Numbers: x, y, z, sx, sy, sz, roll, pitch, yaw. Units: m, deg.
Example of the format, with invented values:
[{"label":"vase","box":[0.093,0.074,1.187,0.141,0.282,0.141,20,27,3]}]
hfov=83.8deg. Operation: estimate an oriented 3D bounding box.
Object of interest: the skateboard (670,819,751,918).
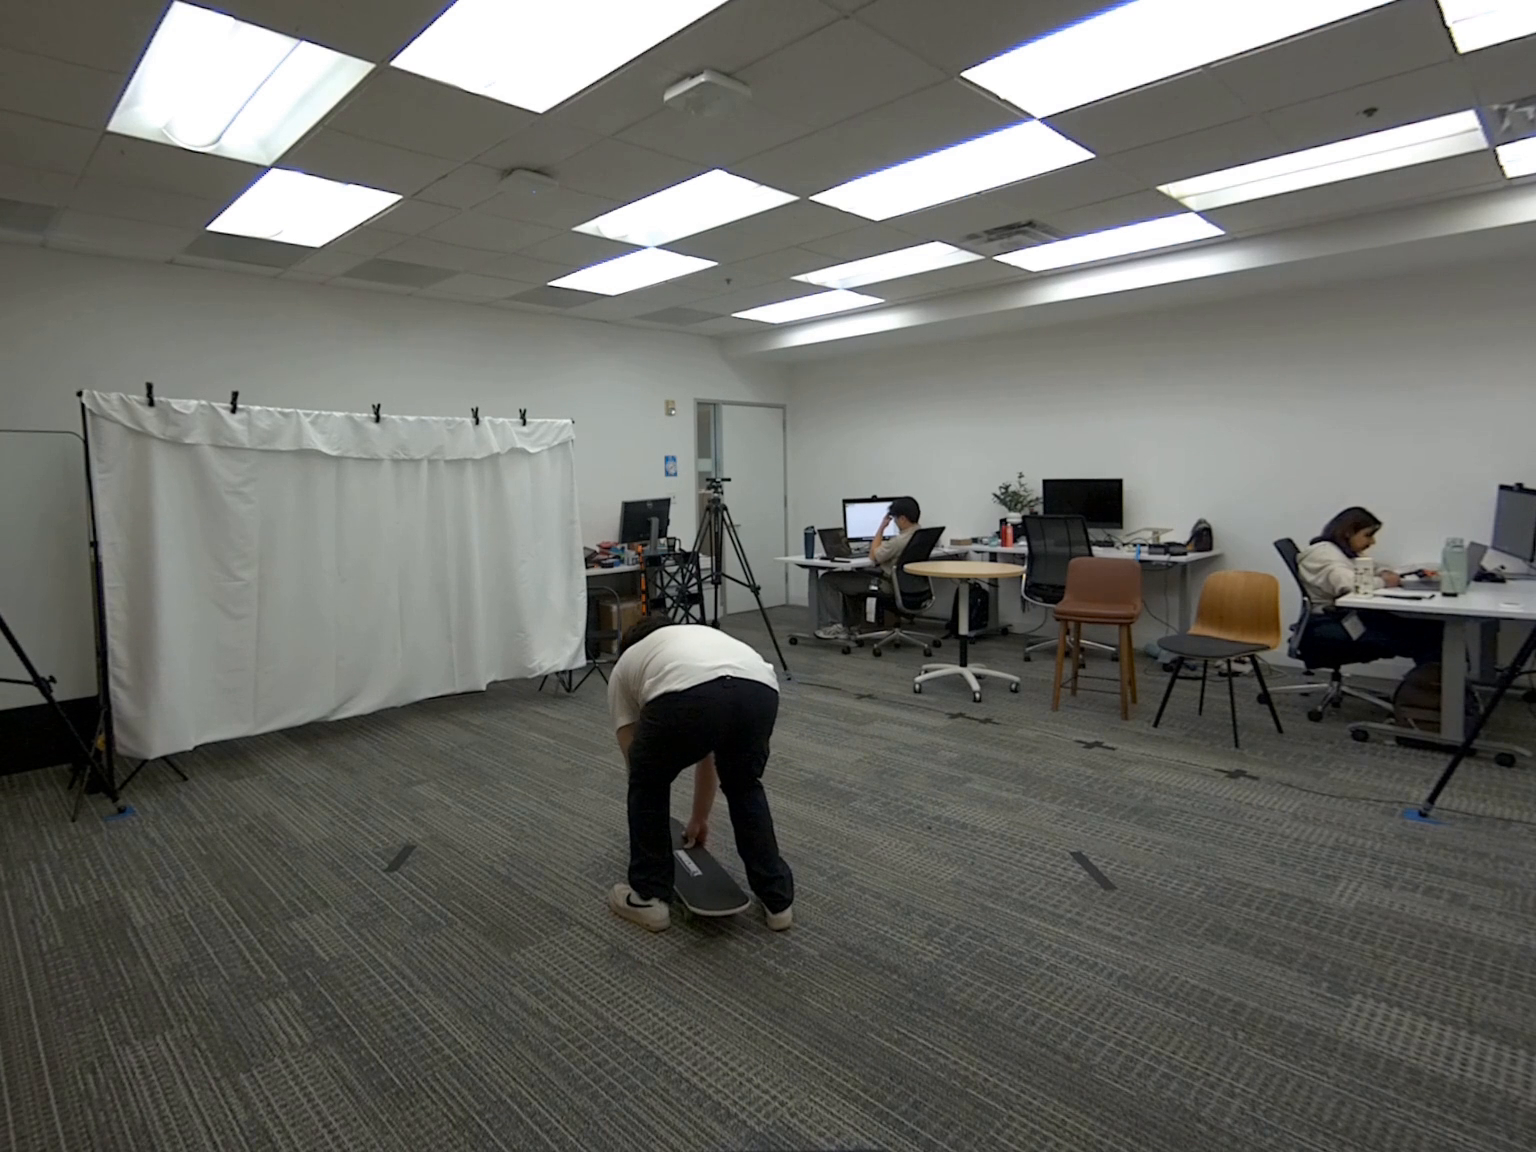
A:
[{"label":"skateboard","box":[-0.270,1.013,2.921,0.190,0.110,0.804,-4,7,-24]}]
